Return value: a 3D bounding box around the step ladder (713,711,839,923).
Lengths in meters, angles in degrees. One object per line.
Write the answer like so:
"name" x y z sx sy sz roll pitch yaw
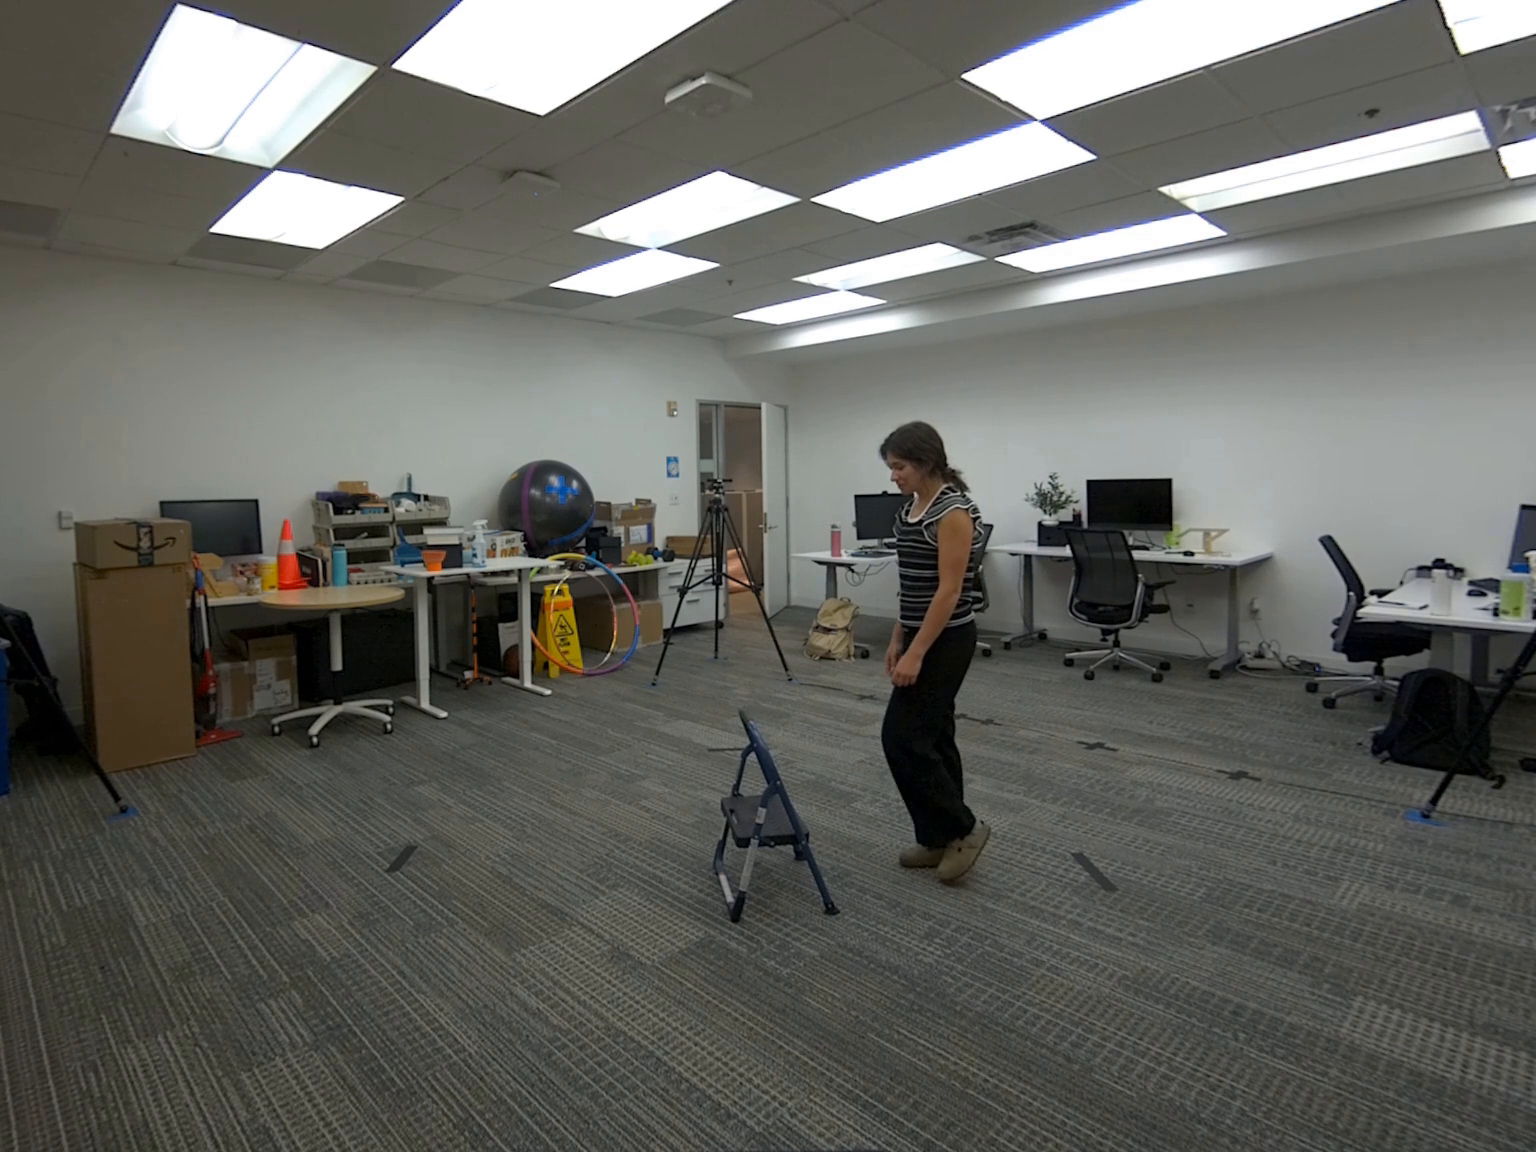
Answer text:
"step ladder" 0.011 0.768 2.897 0.346 0.604 0.437 -1 4 -11
